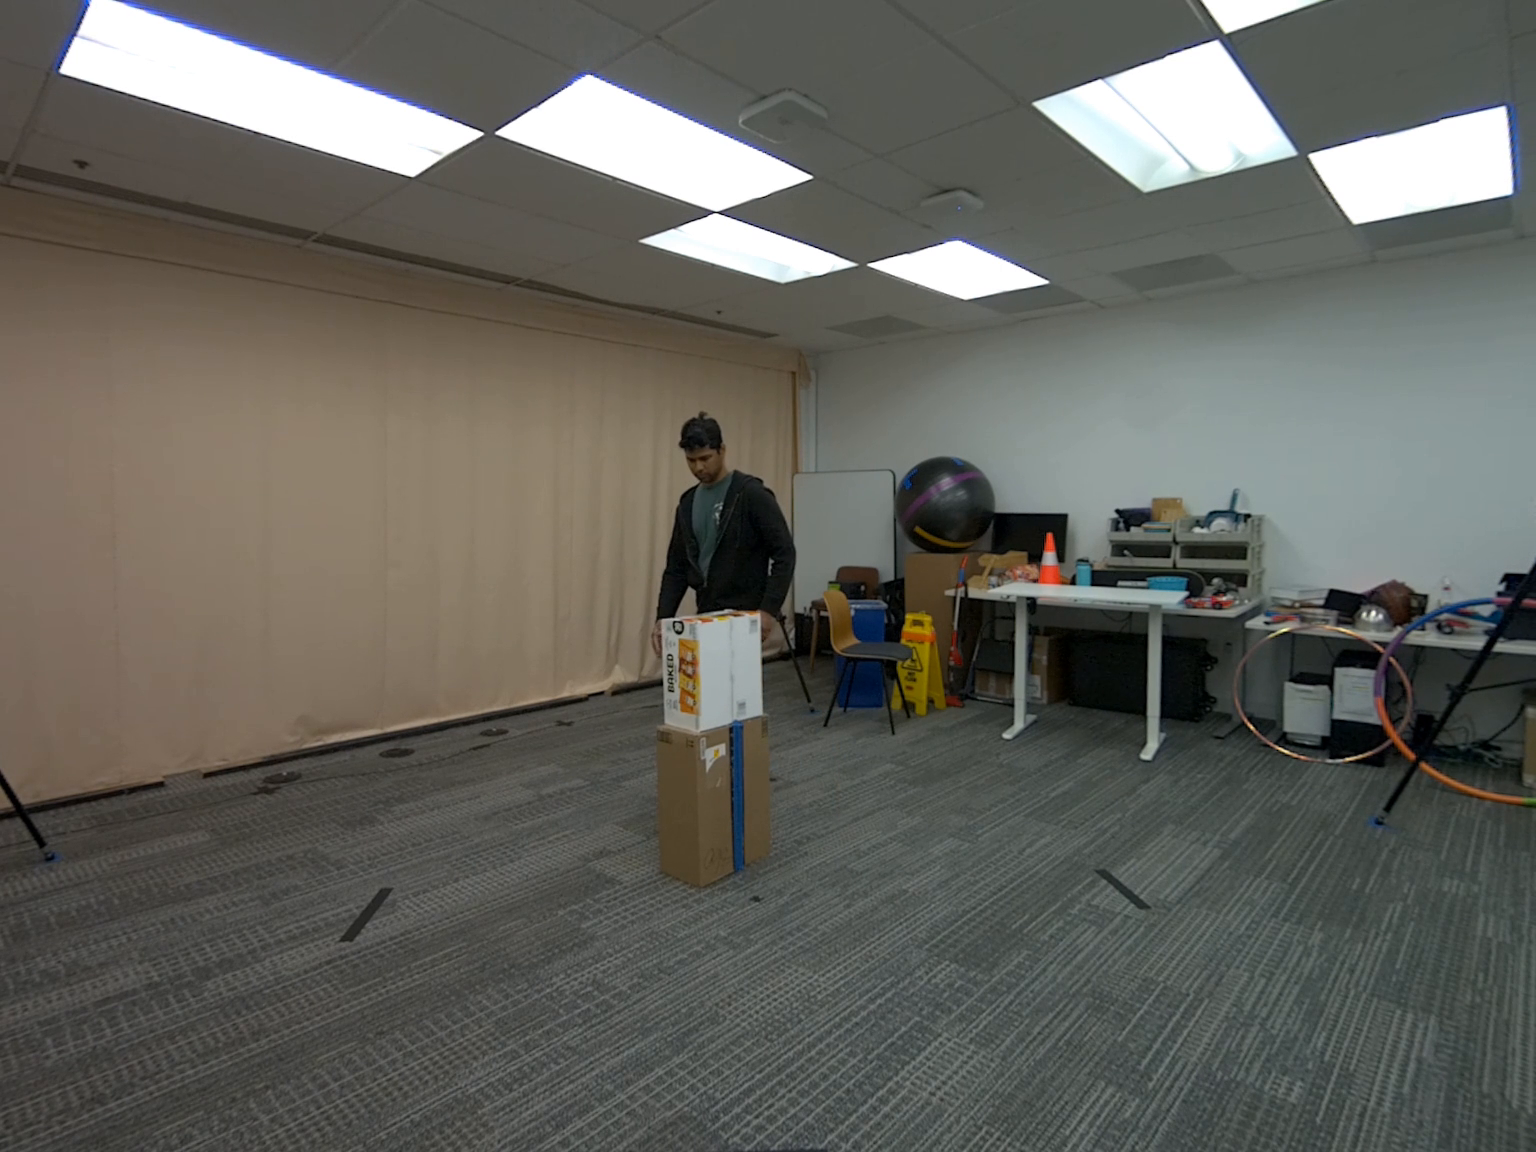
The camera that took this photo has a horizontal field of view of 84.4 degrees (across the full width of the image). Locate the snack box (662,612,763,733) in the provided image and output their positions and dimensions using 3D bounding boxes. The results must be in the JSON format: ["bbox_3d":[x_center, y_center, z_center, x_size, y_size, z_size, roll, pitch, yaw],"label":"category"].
[{"bbox_3d":[-0.207,0.351,3.252,0.330,0.404,0.212,-4,4,-45],"label":"snack box"}]
